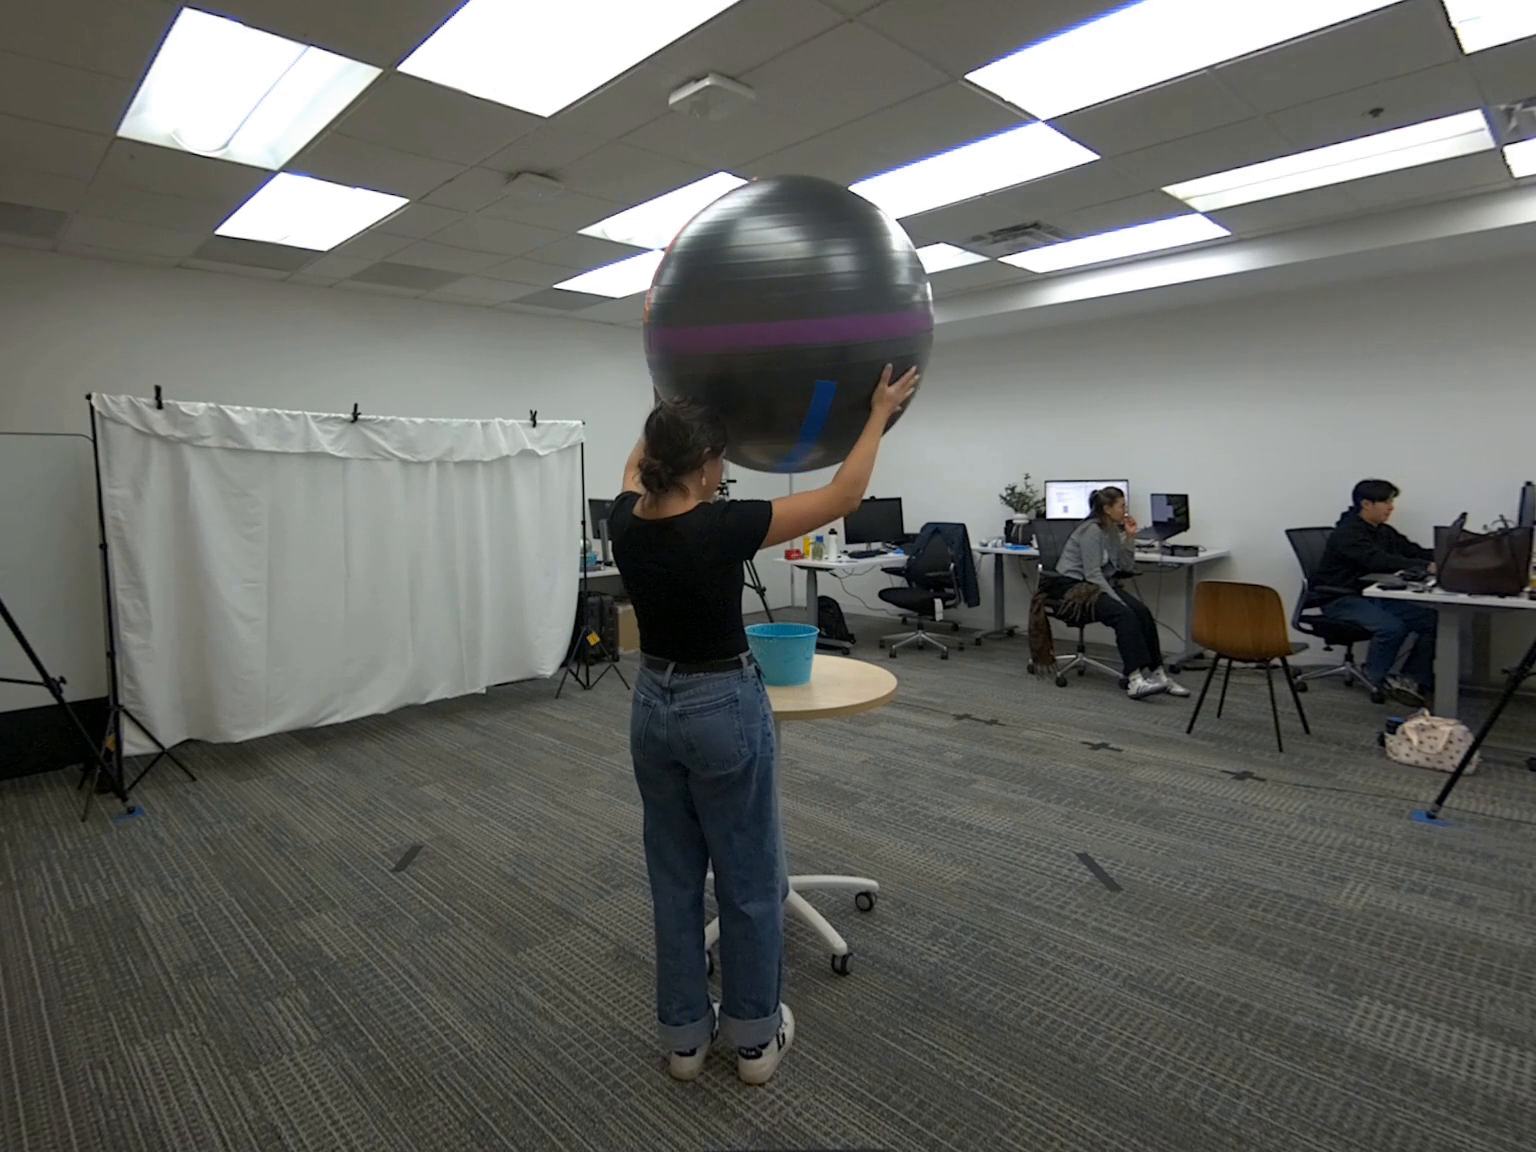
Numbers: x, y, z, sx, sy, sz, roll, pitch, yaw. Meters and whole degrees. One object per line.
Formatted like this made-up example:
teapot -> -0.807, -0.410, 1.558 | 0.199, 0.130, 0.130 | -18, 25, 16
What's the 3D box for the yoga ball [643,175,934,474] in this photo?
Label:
yoga ball -> 0.052, -0.645, 2.259 | 0.757, 0.755, 0.762 | -1, 5, -2
